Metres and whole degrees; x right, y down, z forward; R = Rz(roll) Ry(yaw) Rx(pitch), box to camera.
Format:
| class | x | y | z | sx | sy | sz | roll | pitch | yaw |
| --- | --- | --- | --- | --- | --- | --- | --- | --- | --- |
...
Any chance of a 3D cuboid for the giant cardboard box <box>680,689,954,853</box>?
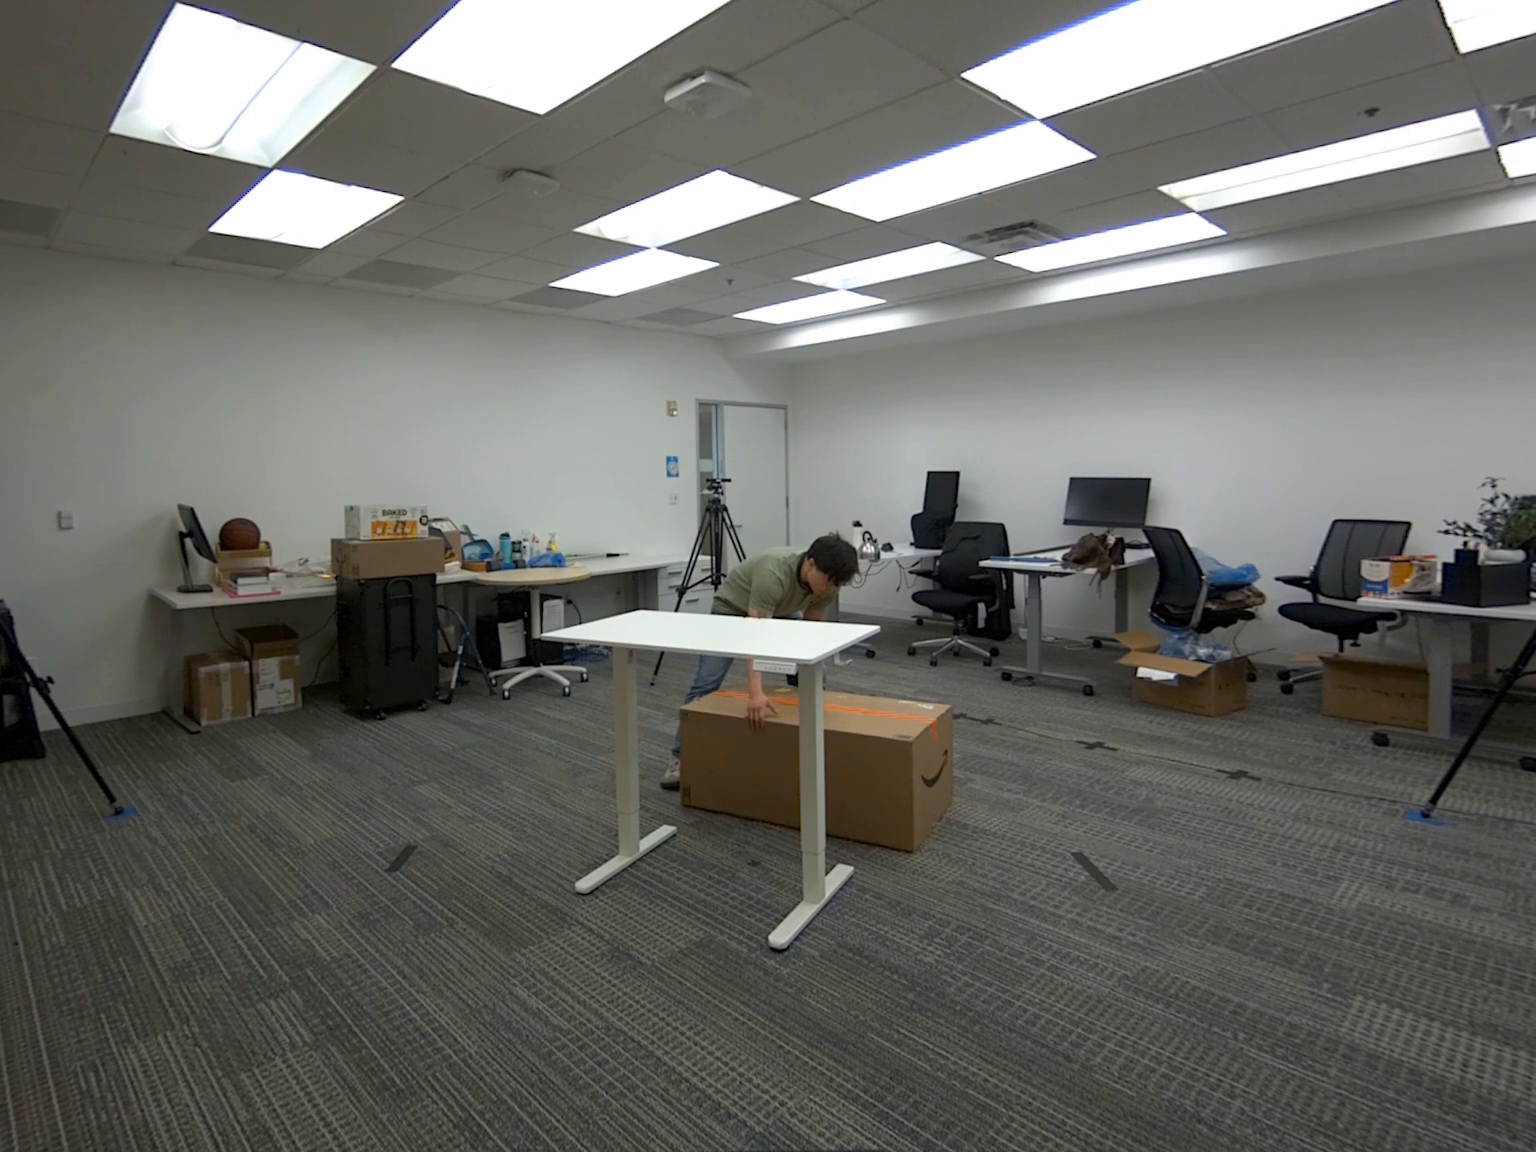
| class | x | y | z | sx | sy | sz | roll | pitch | yaw |
| --- | --- | --- | --- | --- | --- | --- | --- | --- | --- |
| giant cardboard box | 0.207 | 0.762 | 3.637 | 1.052 | 0.425 | 0.565 | 2 | 4 | 28 |
